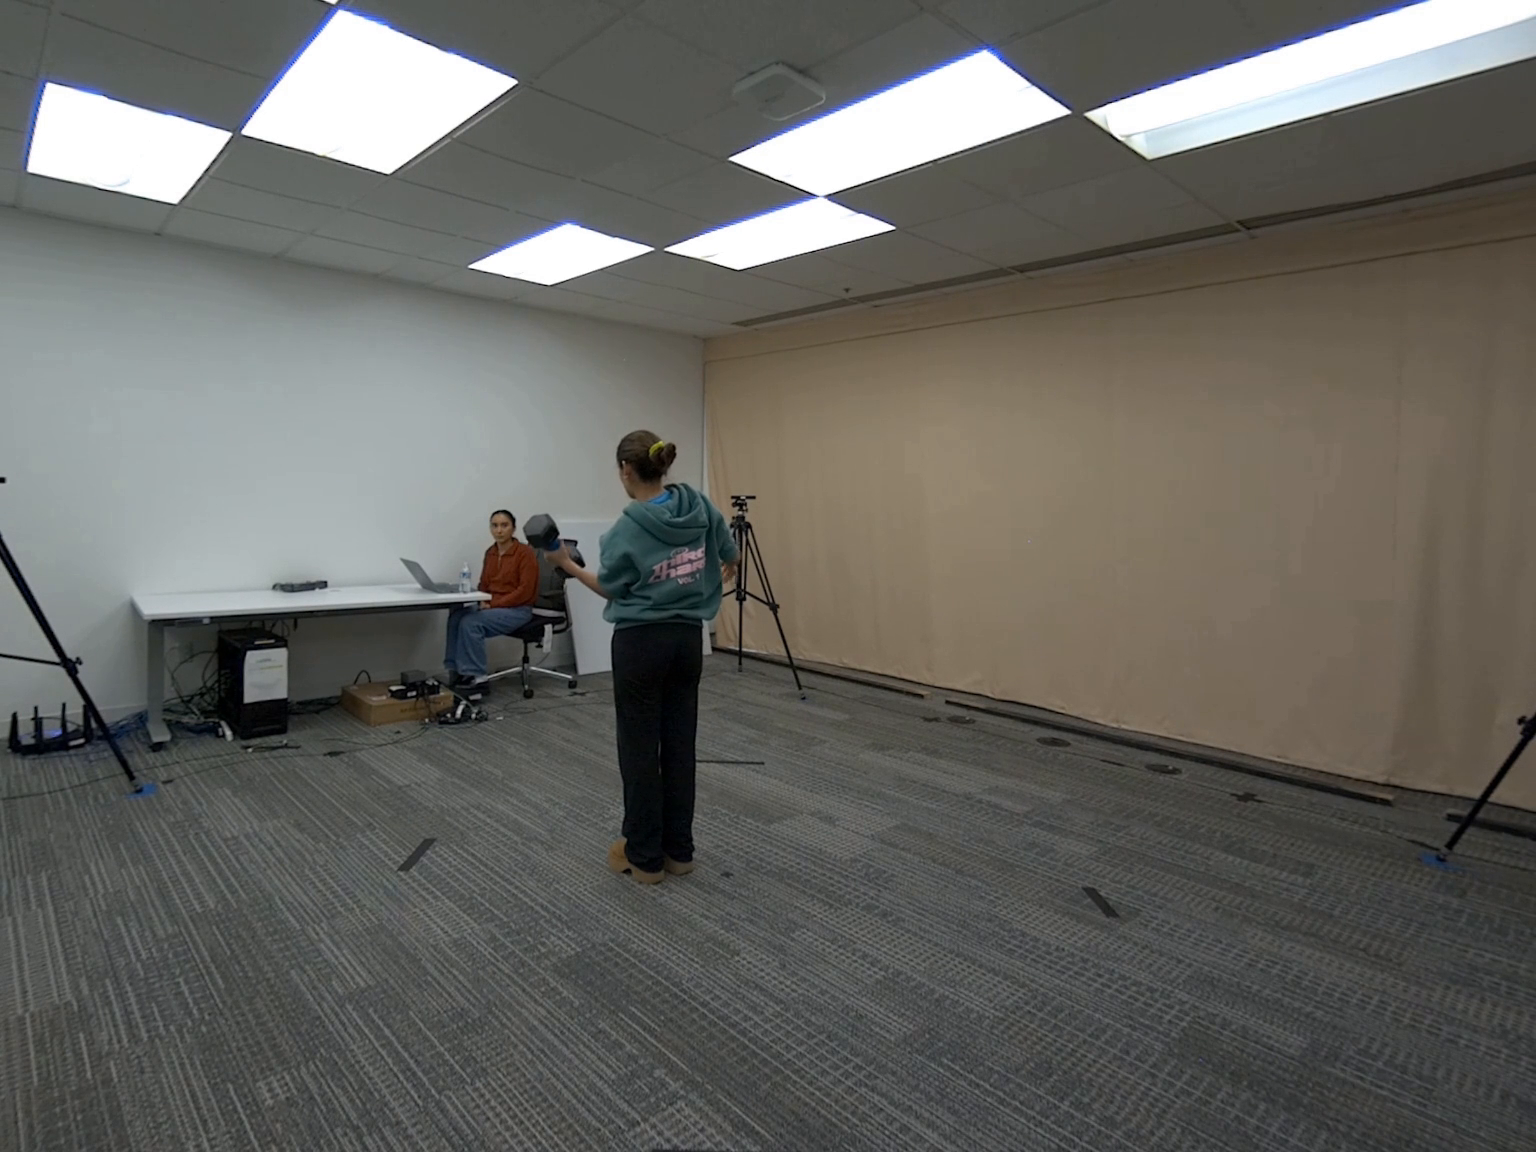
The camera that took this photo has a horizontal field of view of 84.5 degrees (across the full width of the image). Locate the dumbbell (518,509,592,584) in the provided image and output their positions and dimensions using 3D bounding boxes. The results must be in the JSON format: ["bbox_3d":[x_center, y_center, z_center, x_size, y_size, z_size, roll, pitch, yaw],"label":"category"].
[{"bbox_3d":[-0.778,-0.106,3.099,0.124,0.111,0.285,-7,-35,16],"label":"dumbbell"}]
